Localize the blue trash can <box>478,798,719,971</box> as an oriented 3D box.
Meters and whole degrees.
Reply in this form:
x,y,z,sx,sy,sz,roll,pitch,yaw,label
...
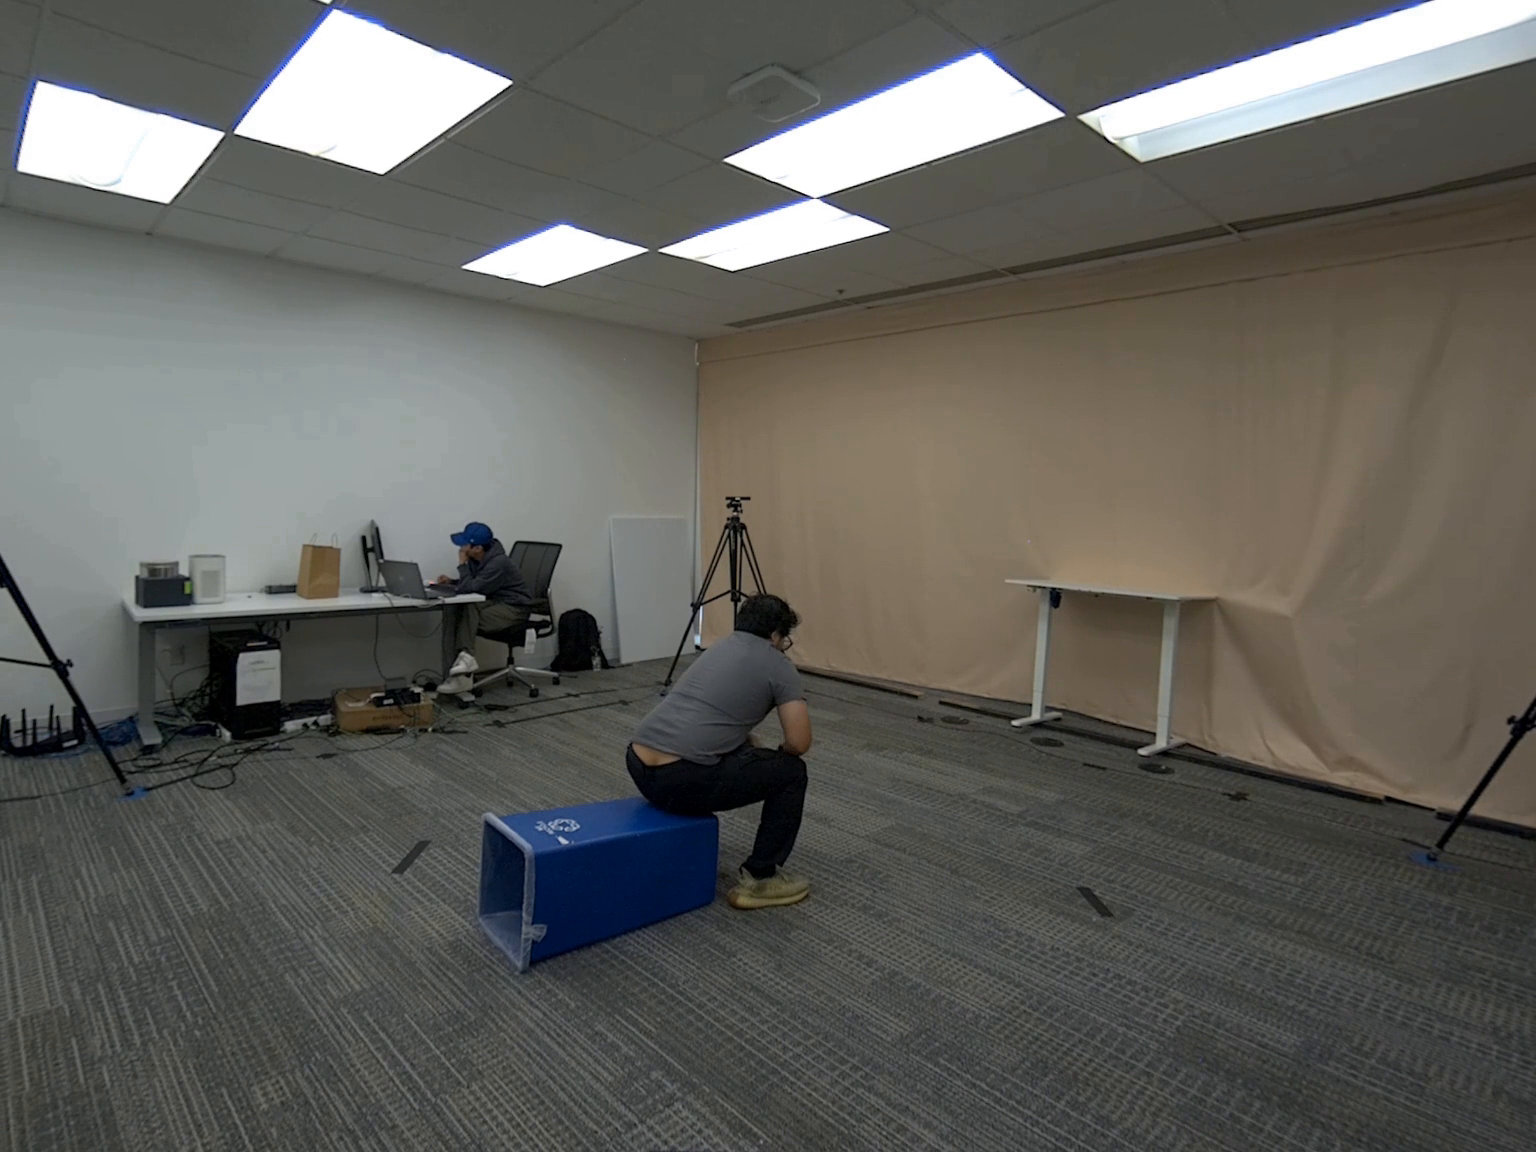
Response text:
x,y,z,sx,sy,sz,roll,pitch,yaw,label
-0.552,0.950,2.776,0.697,0.373,0.387,-1,4,-39,blue trash can
